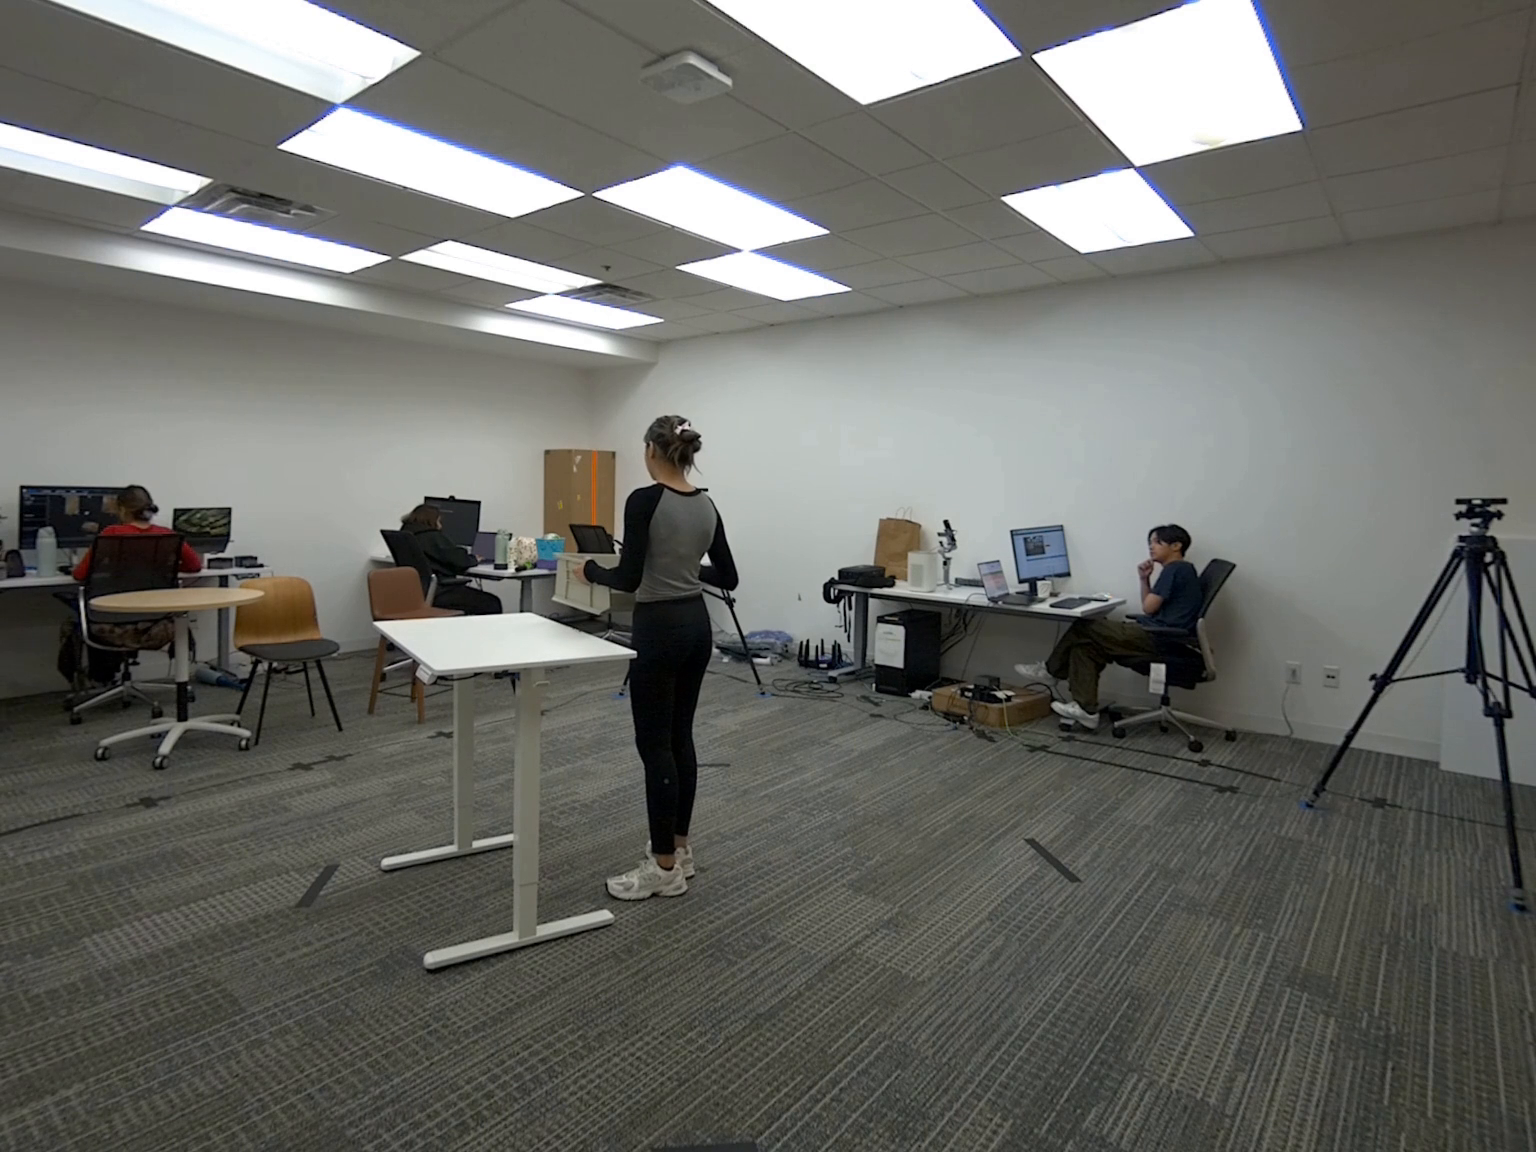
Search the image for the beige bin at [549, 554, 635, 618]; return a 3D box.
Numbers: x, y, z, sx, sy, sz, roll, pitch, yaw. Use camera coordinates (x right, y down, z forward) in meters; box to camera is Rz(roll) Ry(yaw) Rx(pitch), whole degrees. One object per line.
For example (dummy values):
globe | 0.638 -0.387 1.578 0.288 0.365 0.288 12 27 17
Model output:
beige bin | -0.563 0.028 3.271 0.391 0.188 0.409 9 7 44
